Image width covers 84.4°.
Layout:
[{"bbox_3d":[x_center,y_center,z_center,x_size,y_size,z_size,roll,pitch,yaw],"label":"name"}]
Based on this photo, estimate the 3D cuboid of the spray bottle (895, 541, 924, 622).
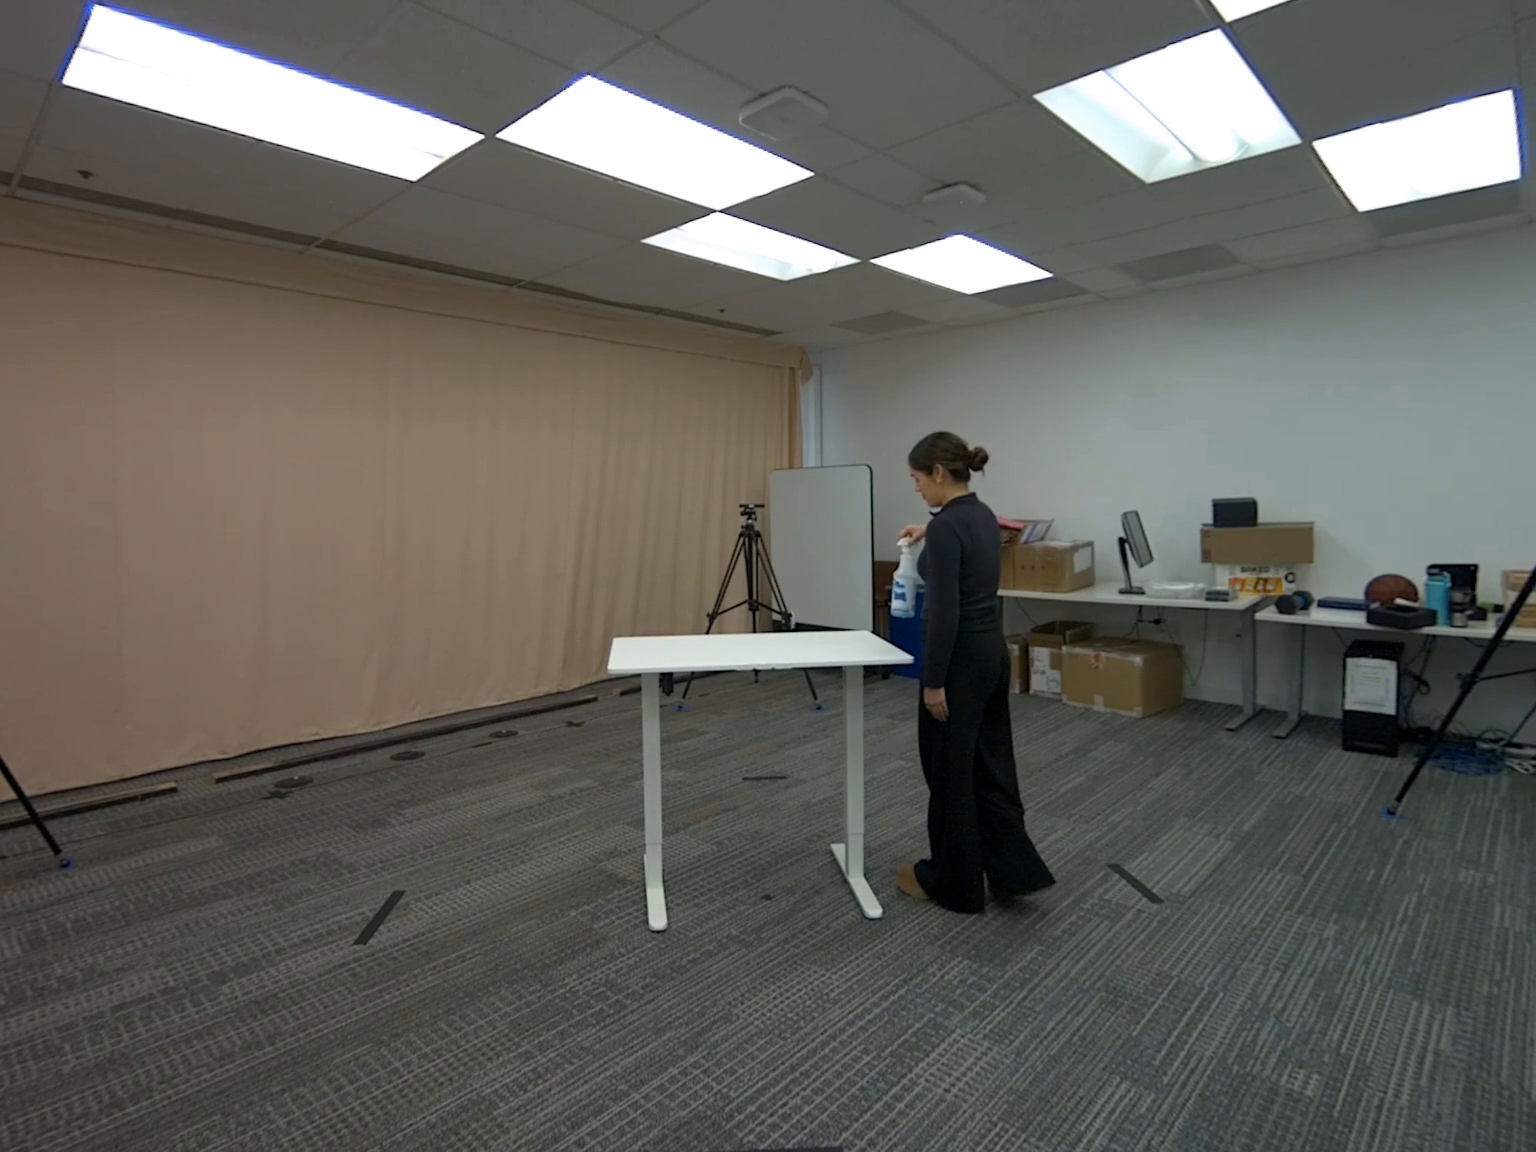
[{"bbox_3d":[0.533,0.010,3.154,0.091,0.296,0.086,5,5,10],"label":"spray bottle"}]
